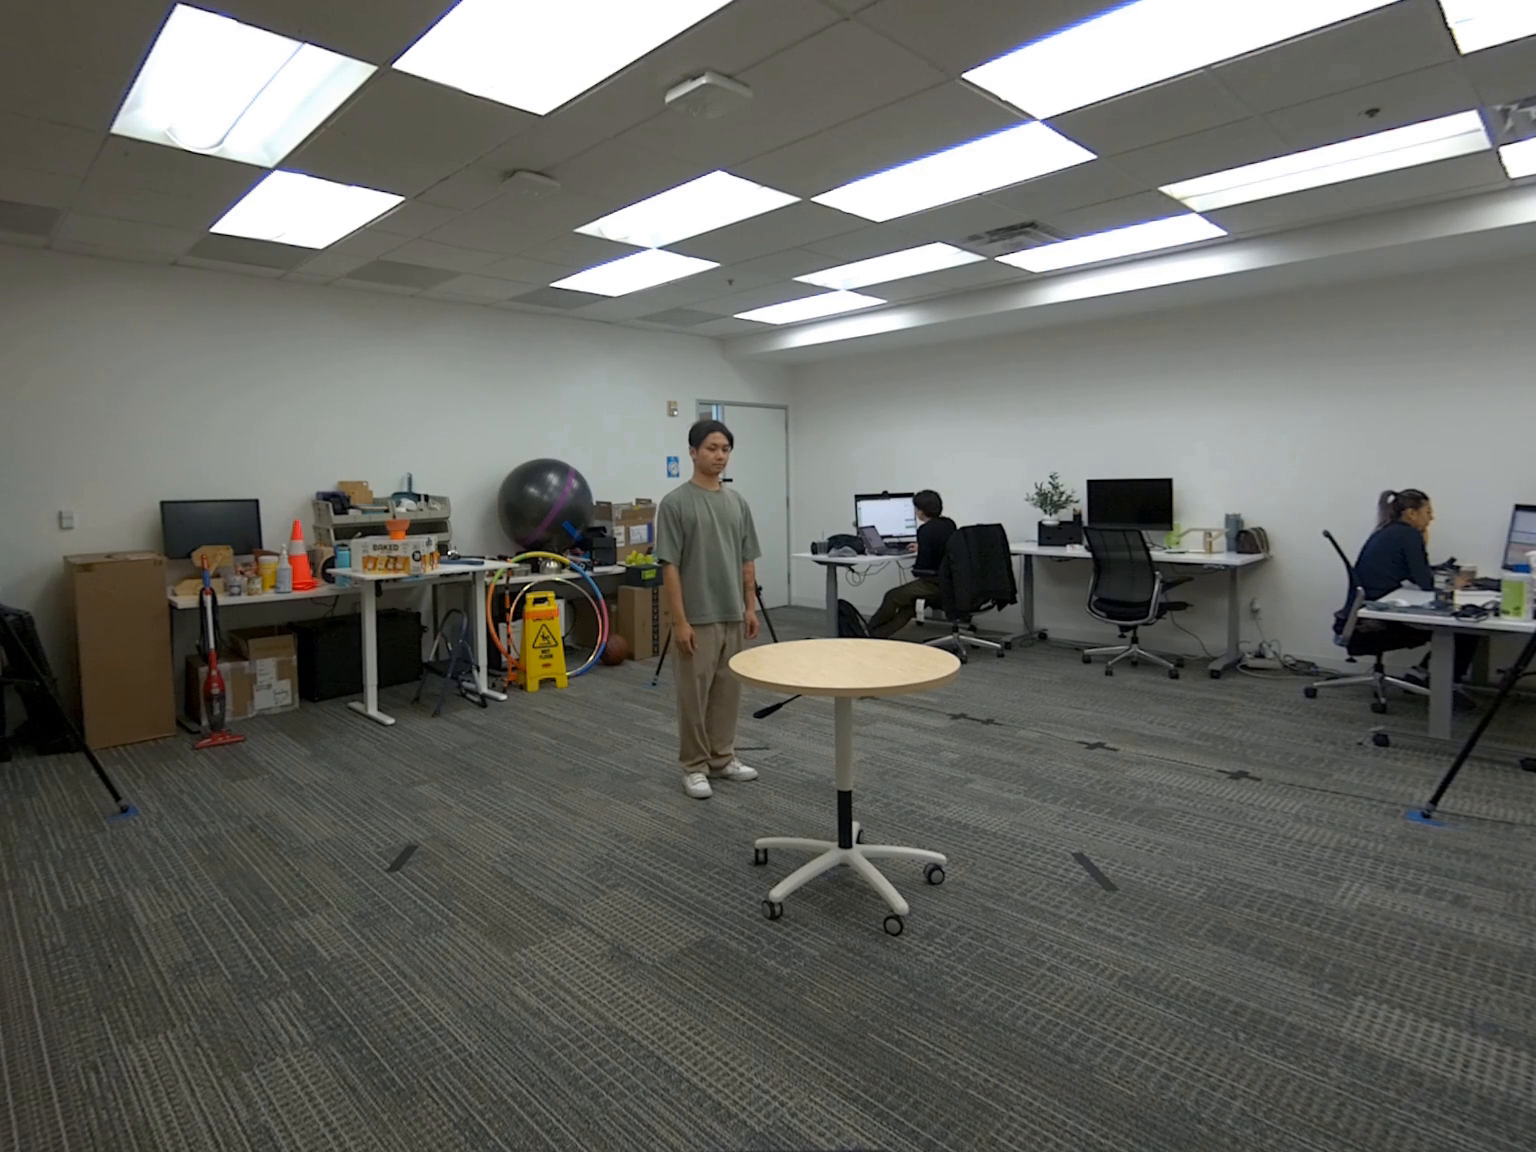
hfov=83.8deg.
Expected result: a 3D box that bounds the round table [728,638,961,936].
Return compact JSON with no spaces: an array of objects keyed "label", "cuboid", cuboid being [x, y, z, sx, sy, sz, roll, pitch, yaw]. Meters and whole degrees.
[{"label":"round table","cuboid":[0.267,0.676,2.896,0.763,0.791,0.768,-1,5,-2]}]
